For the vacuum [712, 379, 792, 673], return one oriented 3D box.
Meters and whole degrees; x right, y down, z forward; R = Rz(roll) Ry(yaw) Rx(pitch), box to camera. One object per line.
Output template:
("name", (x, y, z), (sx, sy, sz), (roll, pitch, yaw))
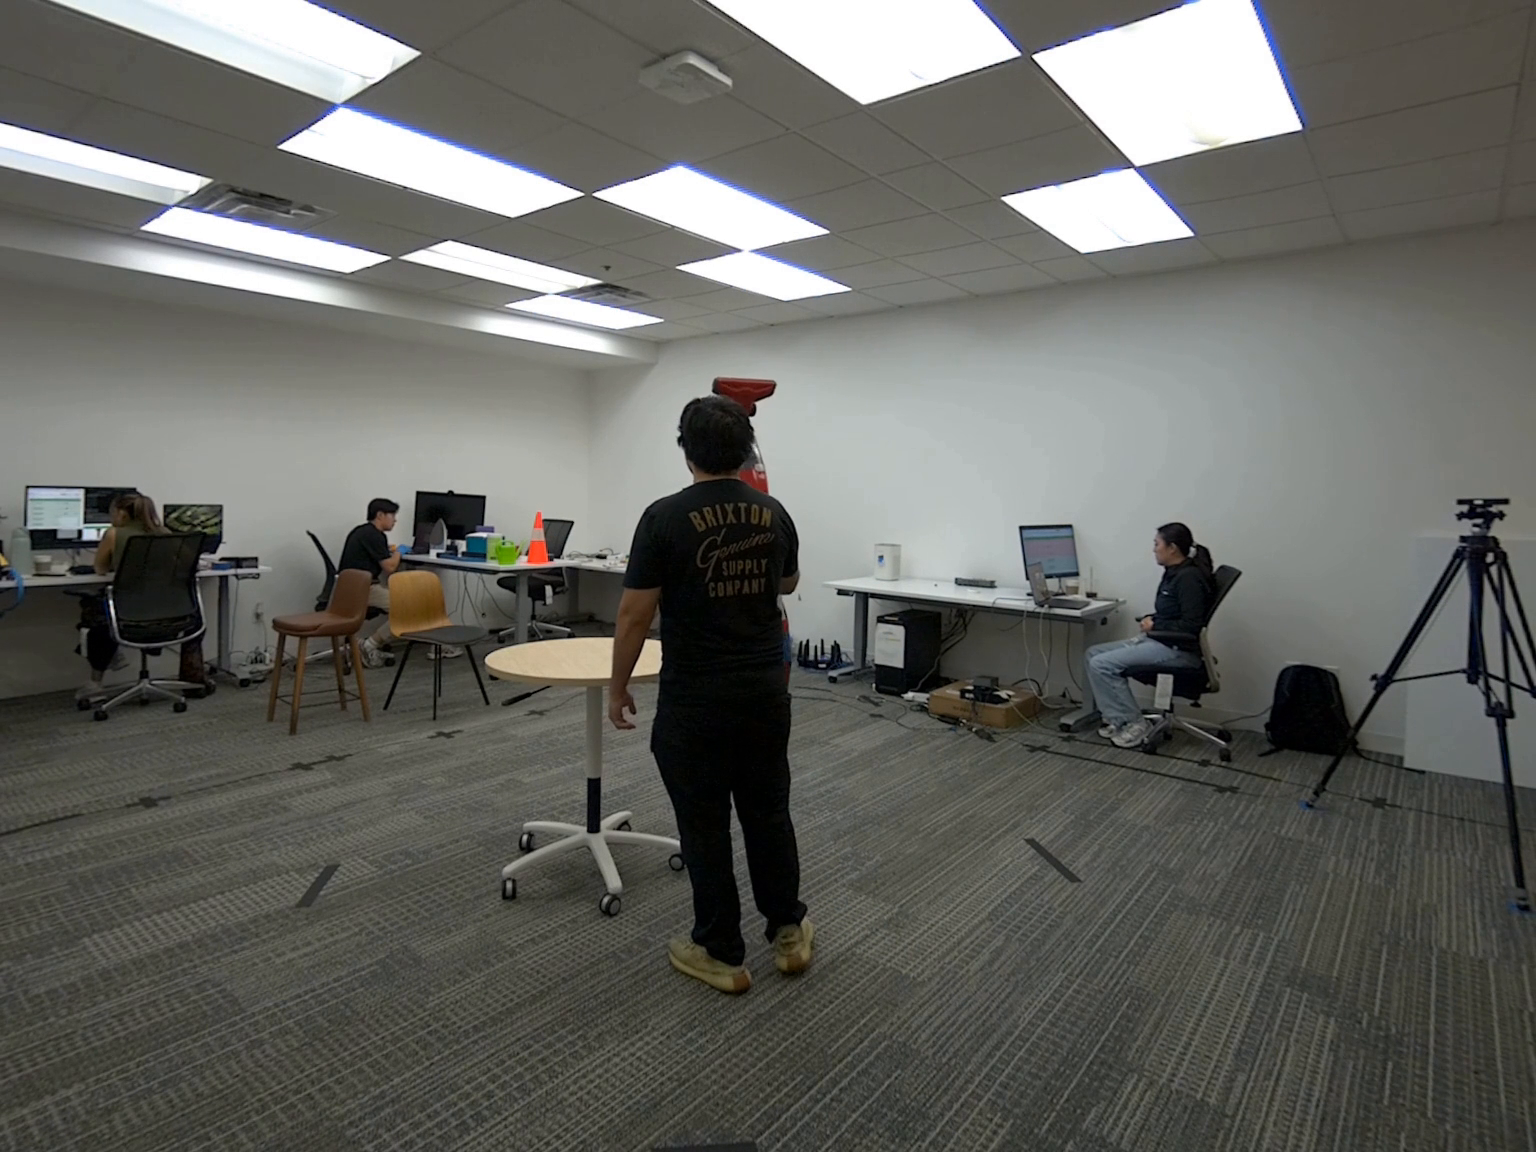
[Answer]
("vacuum", (-0.027, -0.143, 2.973), (0.247, 1.062, 0.145), (-3, -12, -25))
